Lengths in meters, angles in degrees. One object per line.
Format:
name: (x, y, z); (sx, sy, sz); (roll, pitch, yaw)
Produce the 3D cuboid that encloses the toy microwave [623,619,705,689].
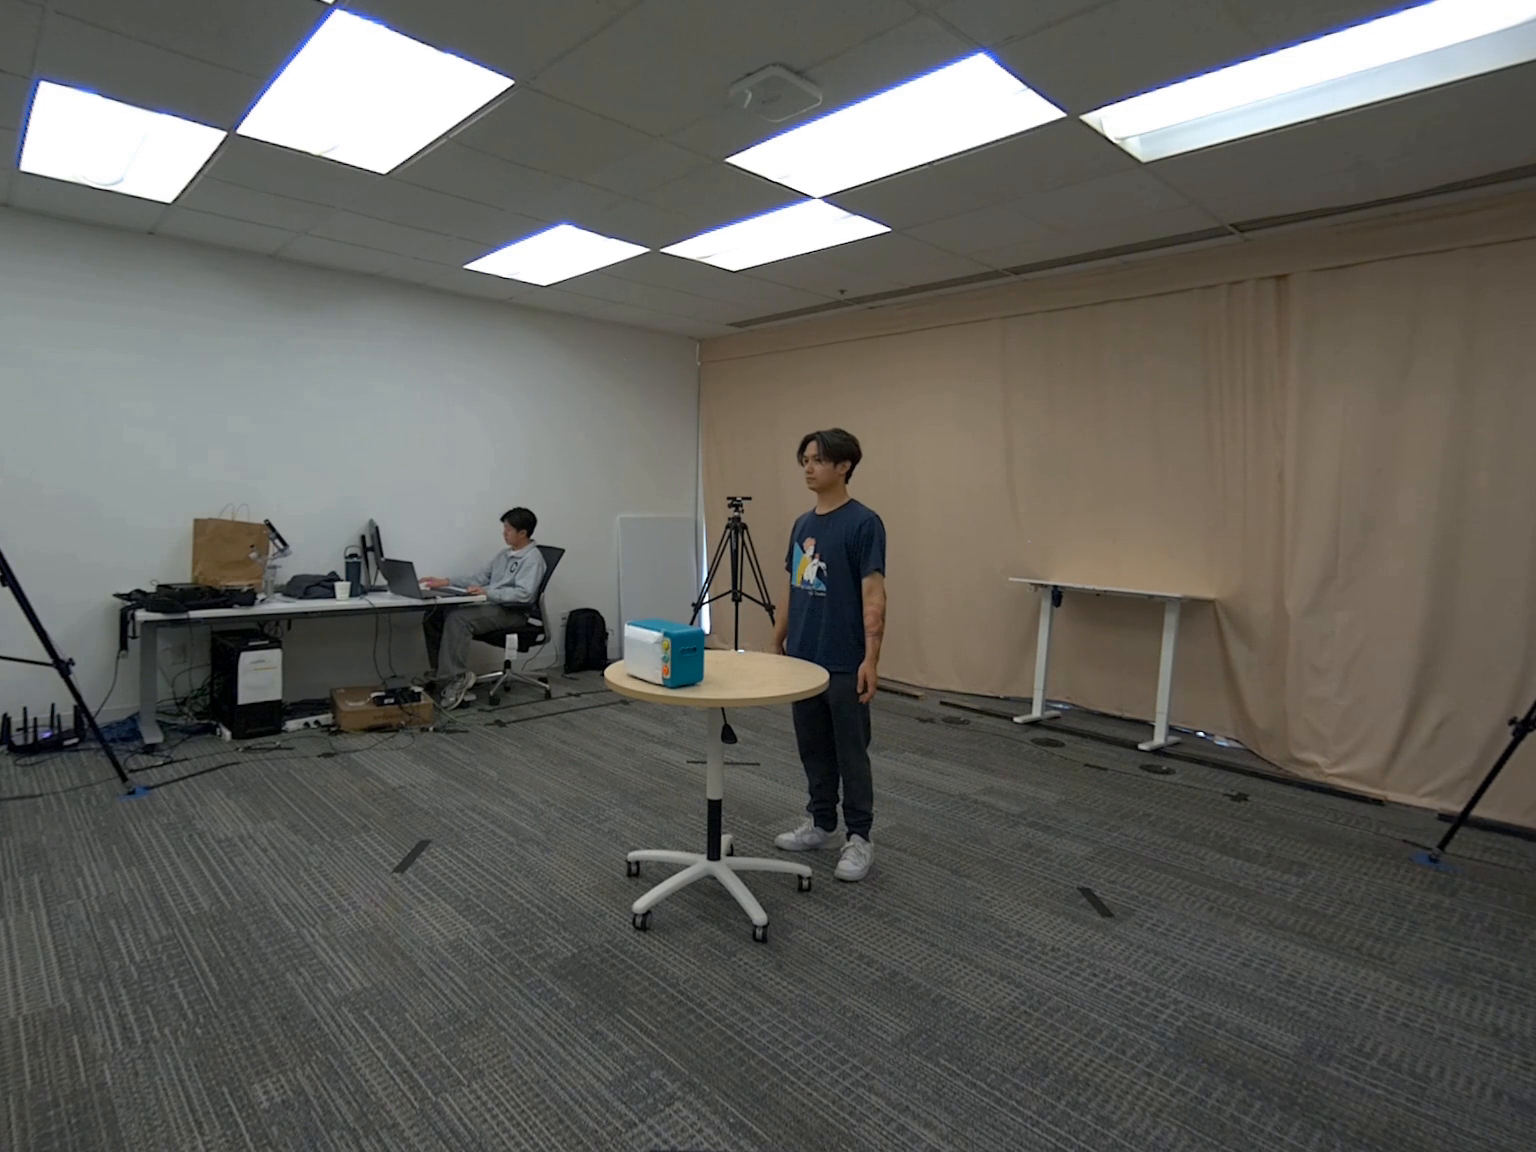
toy microwave: (-0.353, 0.250, 2.719); (0.149, 0.183, 0.293); (-2, 6, -41)
